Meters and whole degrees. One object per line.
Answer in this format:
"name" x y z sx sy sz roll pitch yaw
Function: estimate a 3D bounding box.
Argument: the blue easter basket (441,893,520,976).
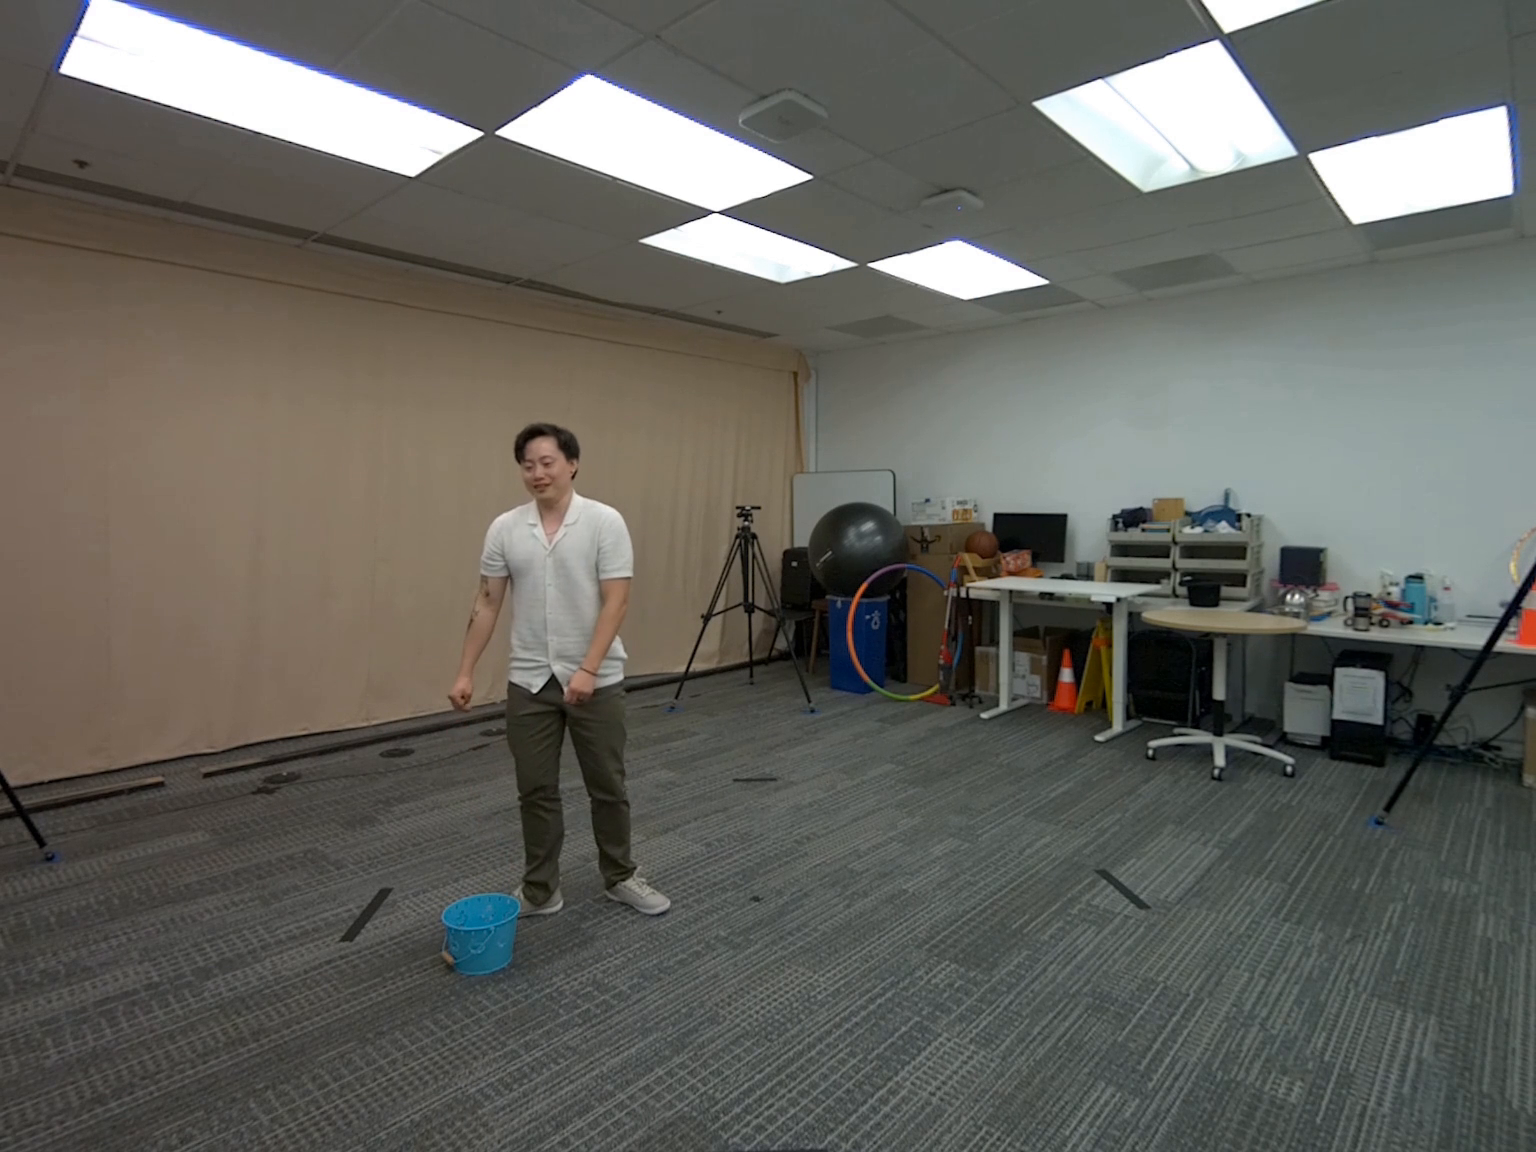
"blue easter basket" -0.892 1.108 2.595 0.243 0.155 0.244 0 4 -2
